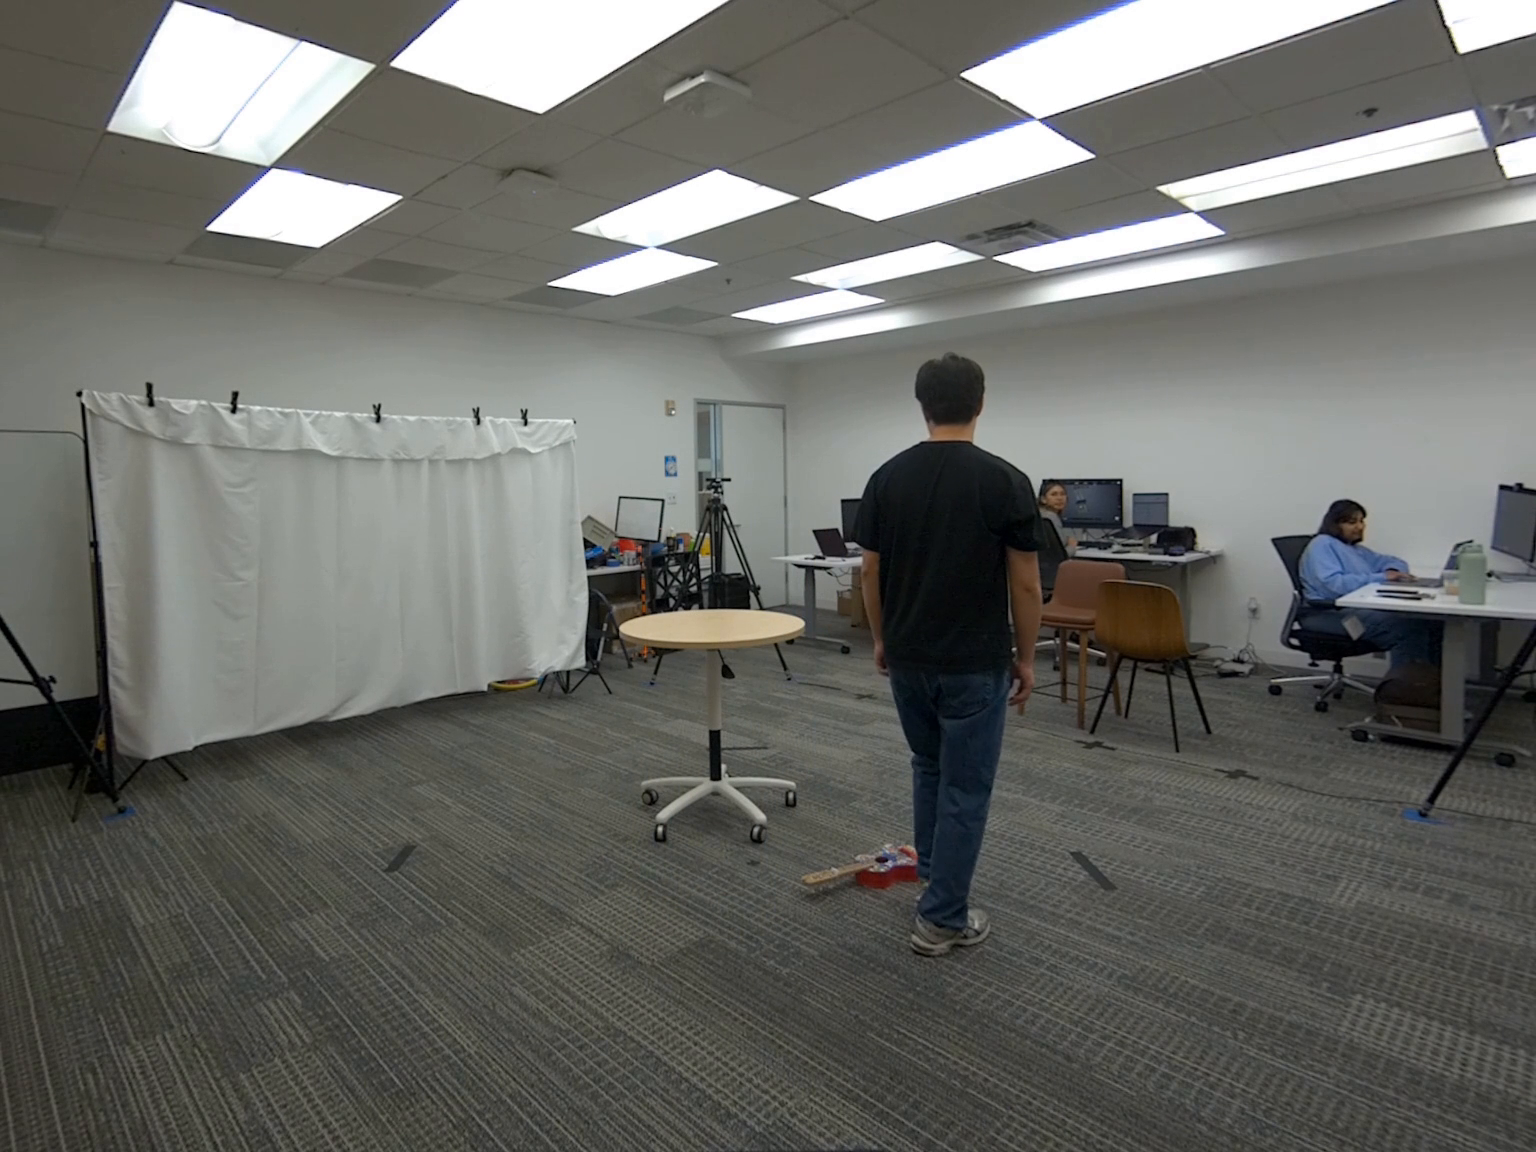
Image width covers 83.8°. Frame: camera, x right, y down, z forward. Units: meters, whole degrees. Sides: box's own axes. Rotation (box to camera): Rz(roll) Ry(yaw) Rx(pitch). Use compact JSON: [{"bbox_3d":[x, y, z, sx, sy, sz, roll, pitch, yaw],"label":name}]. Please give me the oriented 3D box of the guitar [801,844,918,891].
[{"bbox_3d":[0.326,1.019,2.972,0.489,0.070,0.197,-3,7,-19],"label":"guitar"}]
